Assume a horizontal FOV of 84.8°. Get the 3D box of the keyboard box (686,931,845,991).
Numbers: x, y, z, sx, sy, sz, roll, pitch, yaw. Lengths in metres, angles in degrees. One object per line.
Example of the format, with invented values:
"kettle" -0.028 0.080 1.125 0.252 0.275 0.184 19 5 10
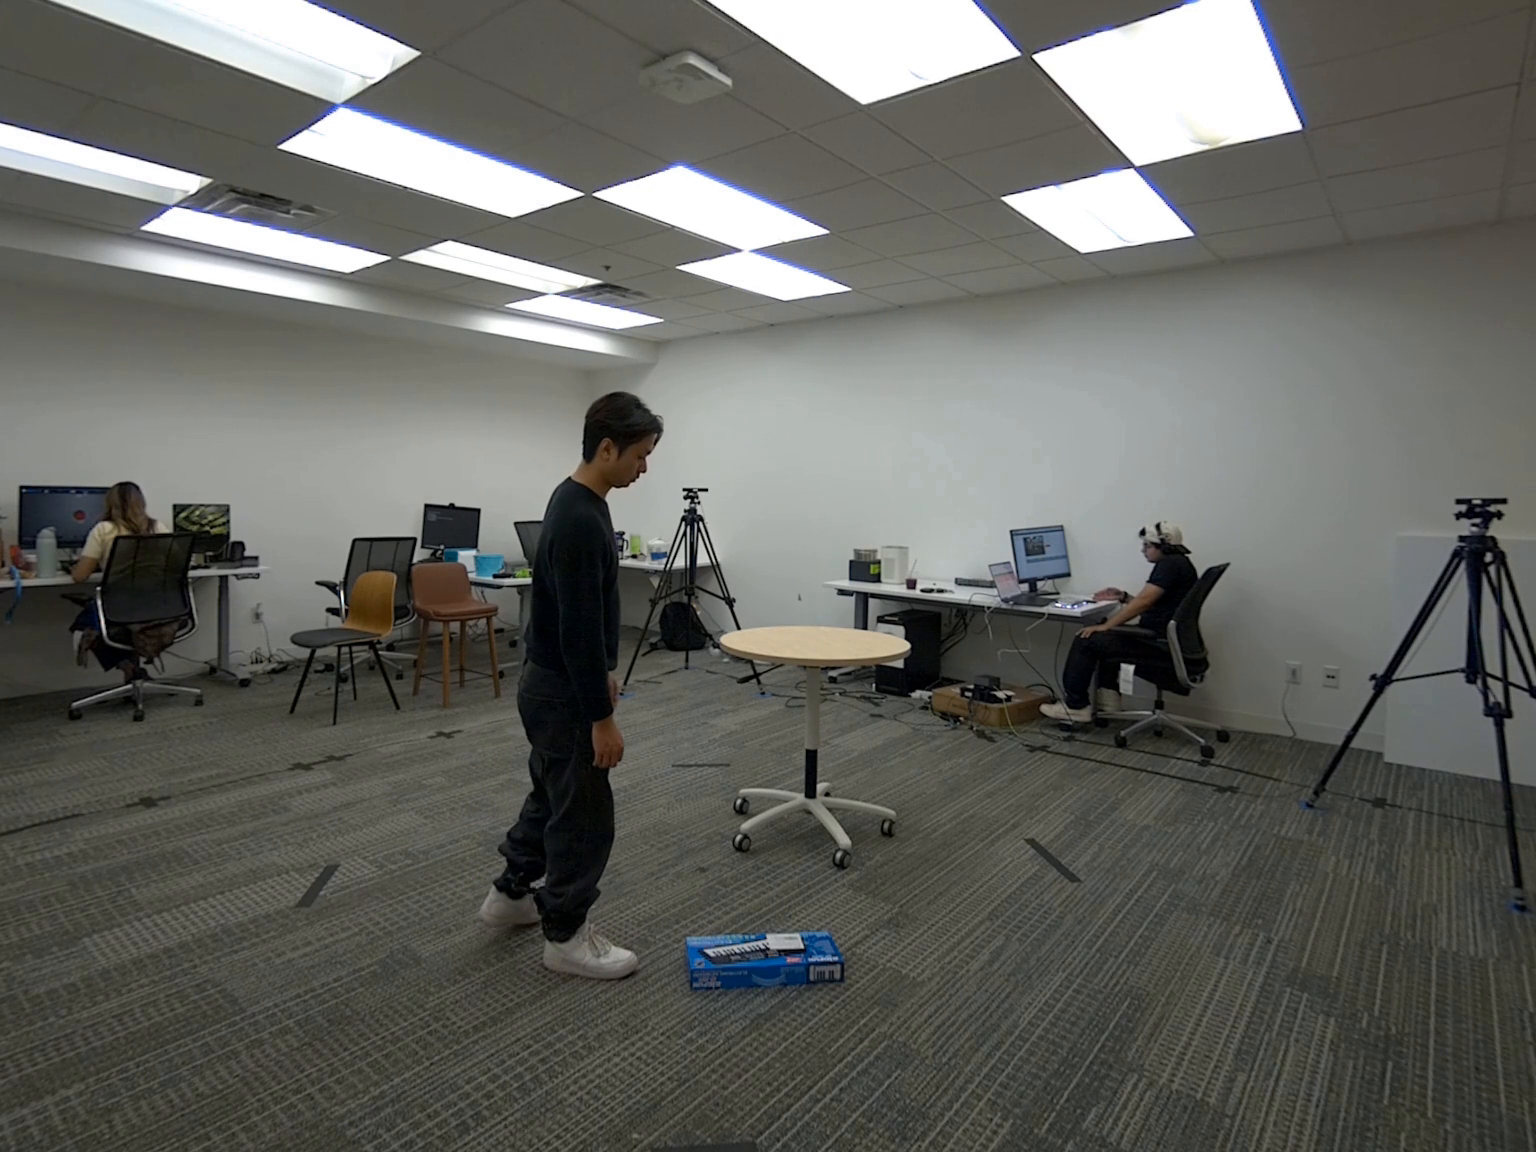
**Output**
"keyboard box" -0.021 1.112 2.461 0.433 0.059 0.178 0 6 -8
